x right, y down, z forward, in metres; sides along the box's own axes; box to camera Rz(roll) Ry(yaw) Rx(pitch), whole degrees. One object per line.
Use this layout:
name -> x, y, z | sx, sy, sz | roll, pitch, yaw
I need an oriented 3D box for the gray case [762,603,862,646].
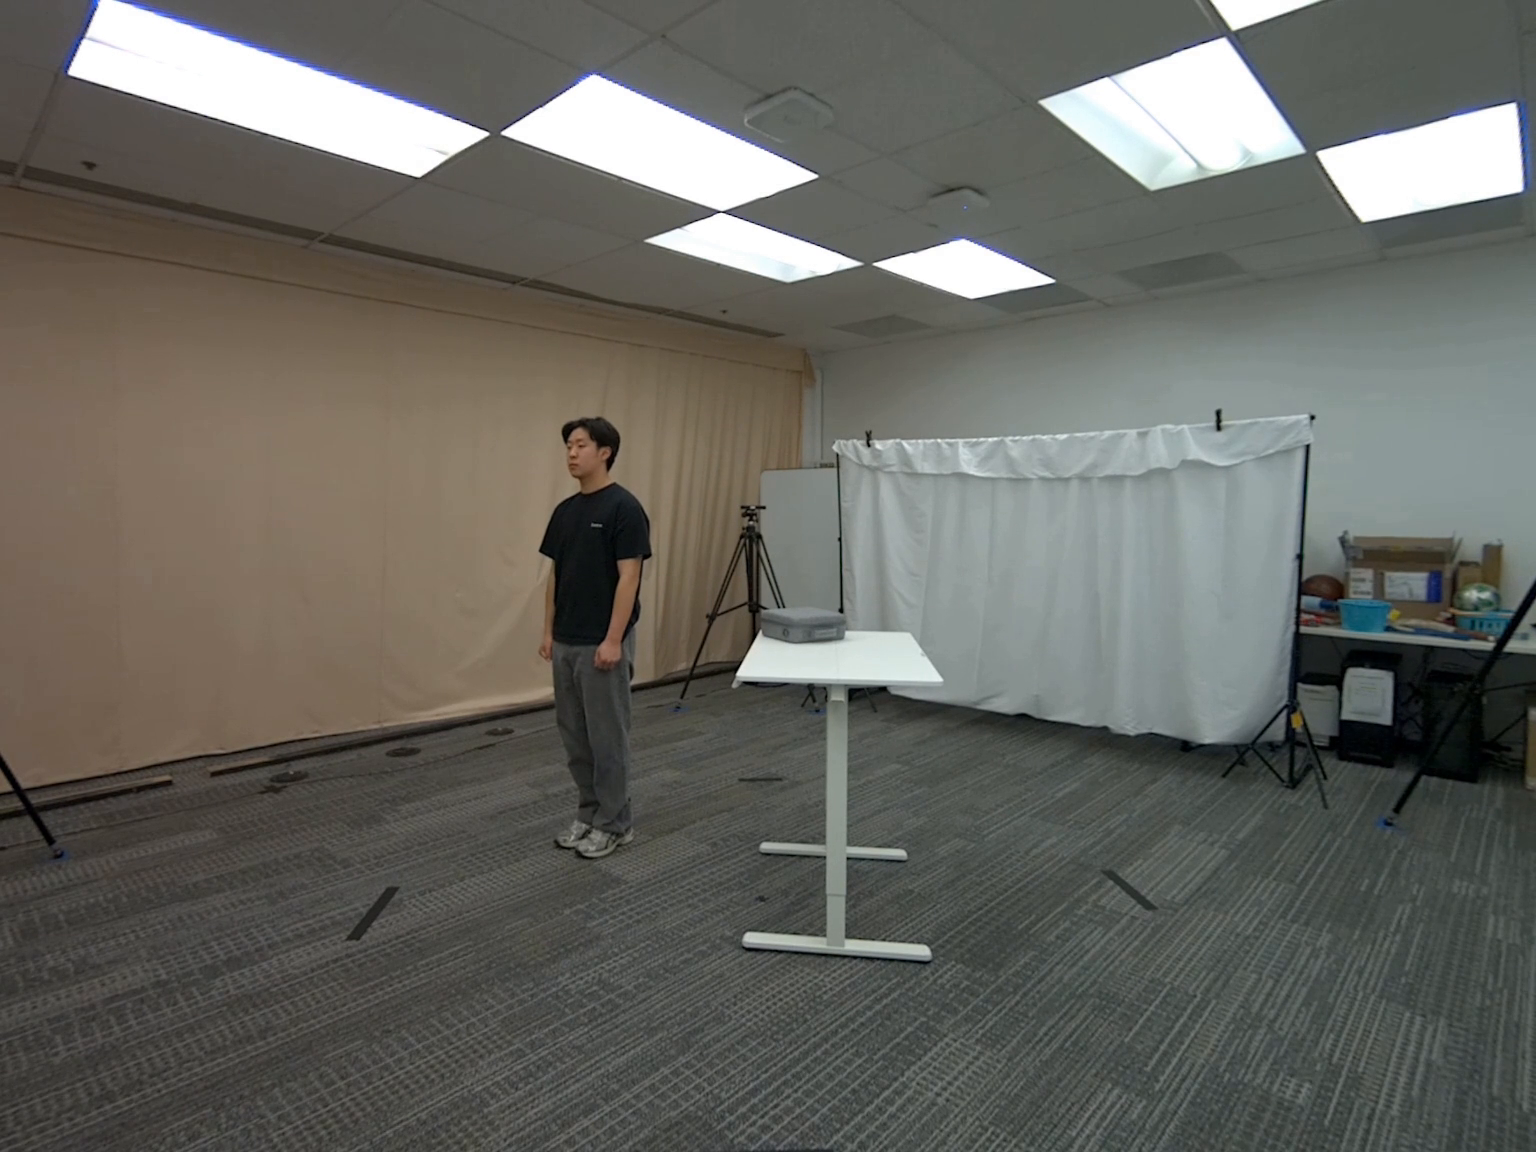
gray case -> 0.162, 0.181, 3.247 | 0.282, 0.103, 0.269 | -4, 5, -20
